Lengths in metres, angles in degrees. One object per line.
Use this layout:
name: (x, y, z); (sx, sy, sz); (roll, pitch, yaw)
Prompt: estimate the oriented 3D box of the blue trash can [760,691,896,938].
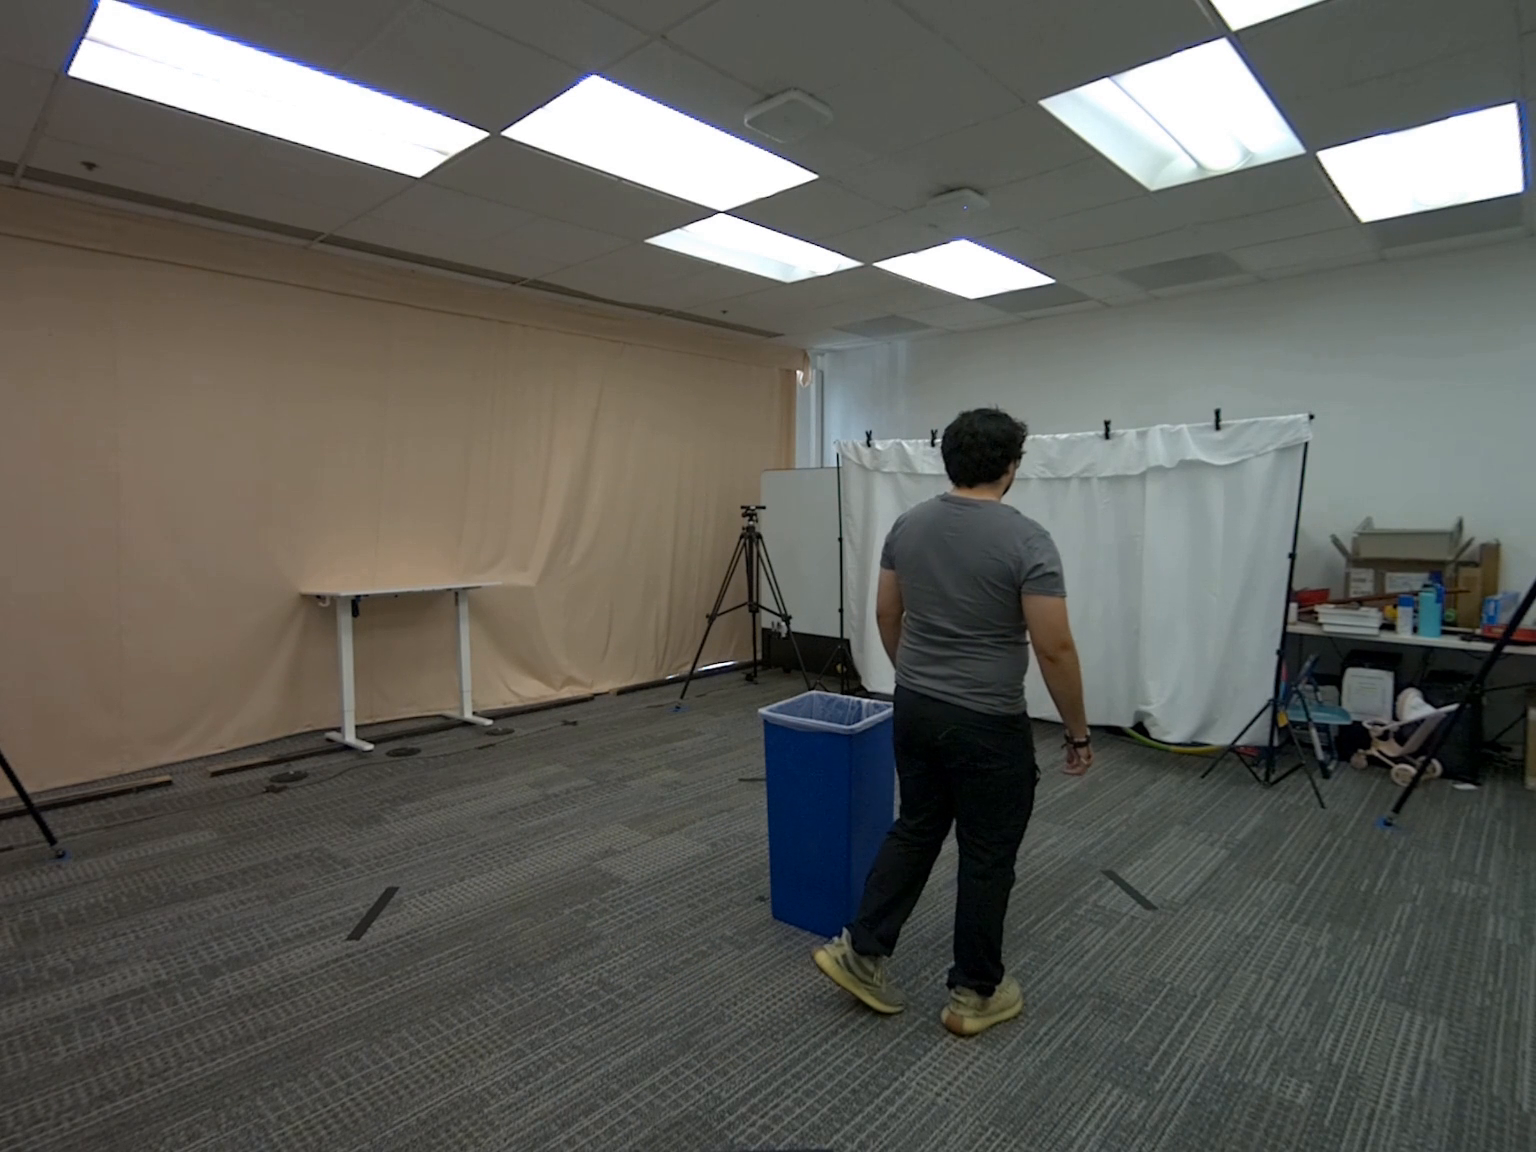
blue trash can: (0.214, 0.795, 2.848); (0.390, 0.712, 0.363); (2, 4, 36)
